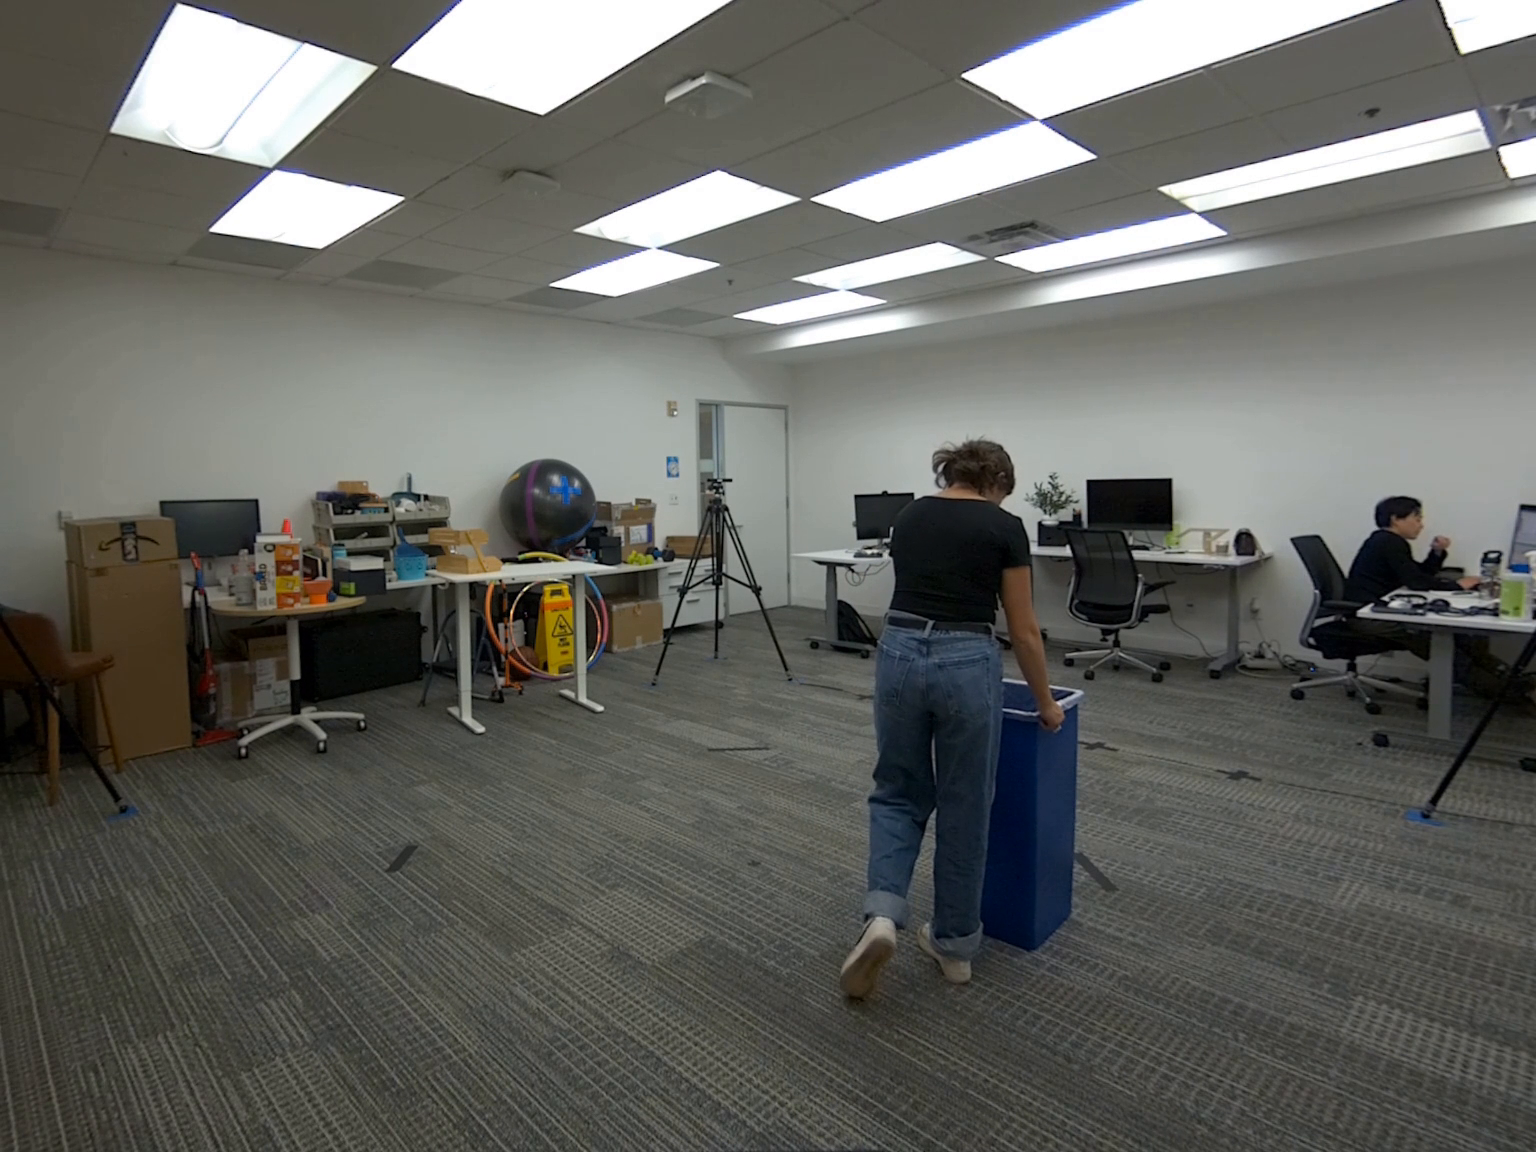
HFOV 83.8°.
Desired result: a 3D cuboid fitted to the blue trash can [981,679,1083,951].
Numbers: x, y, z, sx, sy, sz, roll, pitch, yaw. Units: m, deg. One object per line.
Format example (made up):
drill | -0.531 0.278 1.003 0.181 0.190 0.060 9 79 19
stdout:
blue trash can | 0.749 0.721 2.687 0.385 0.711 0.368 3 5 42
